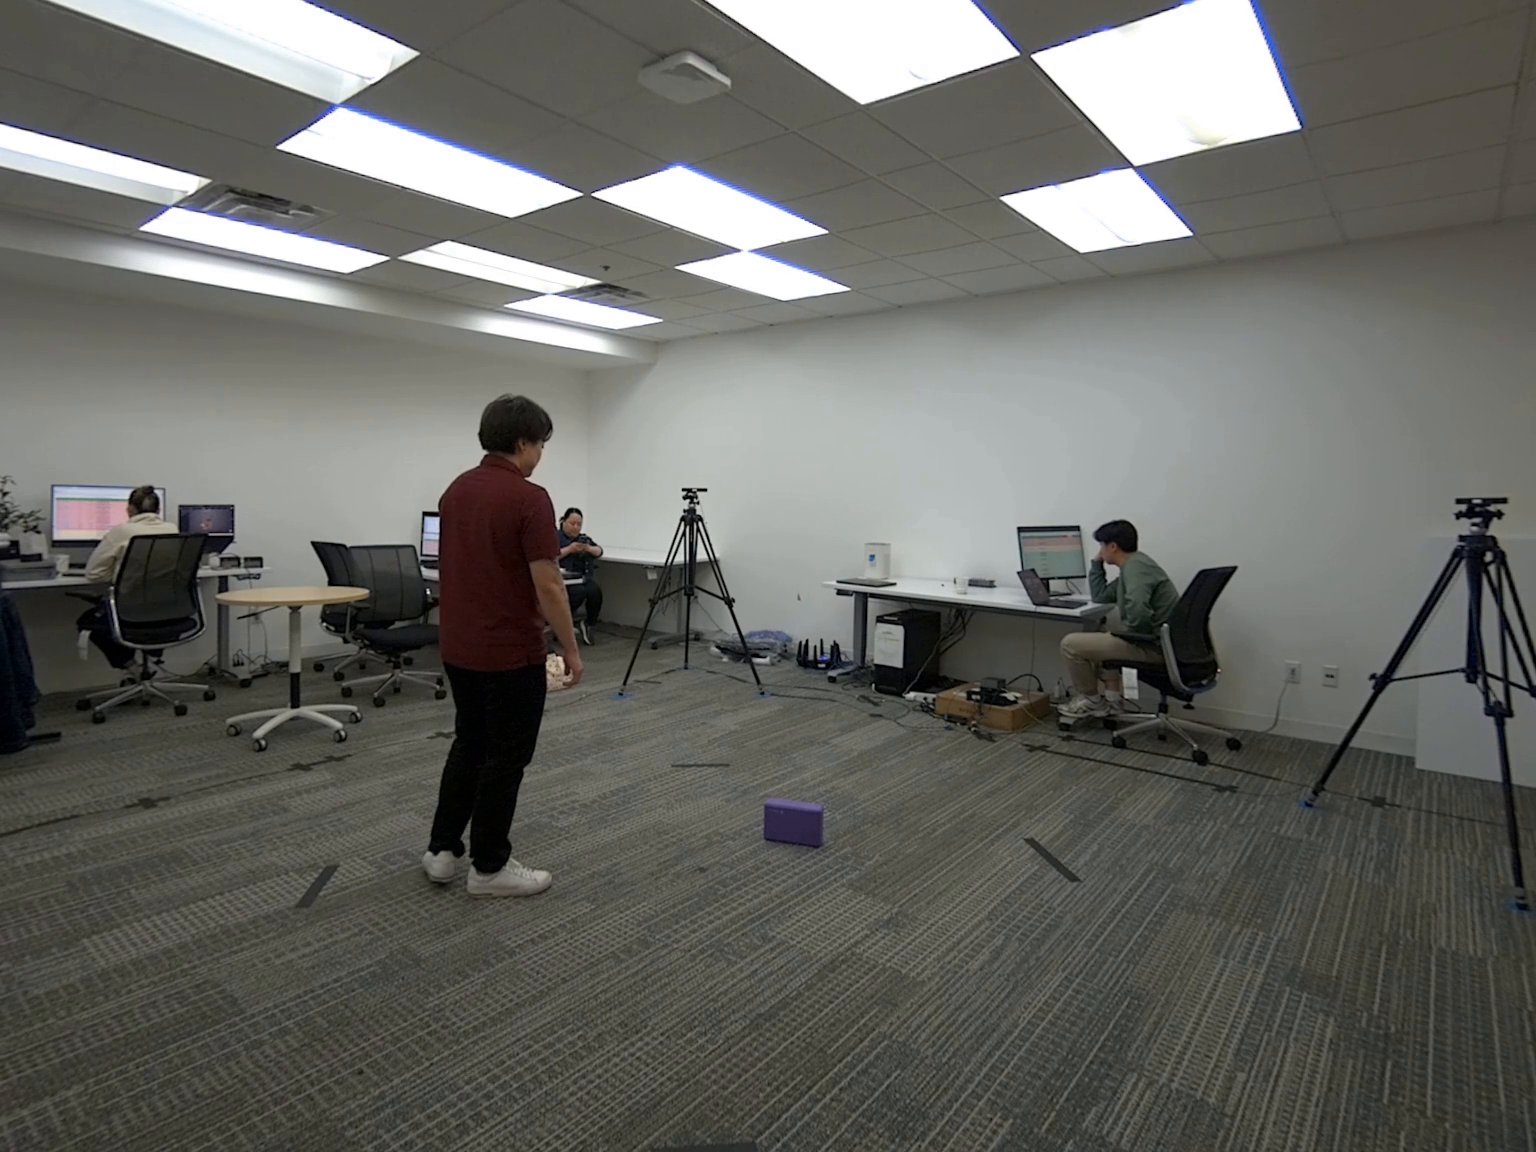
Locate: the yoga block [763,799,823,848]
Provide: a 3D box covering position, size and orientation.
[{"bbox_3d":[0.093,0.972,3.378,0.234,0.149,0.075,2,2,17],"label":"yoga block"}]
